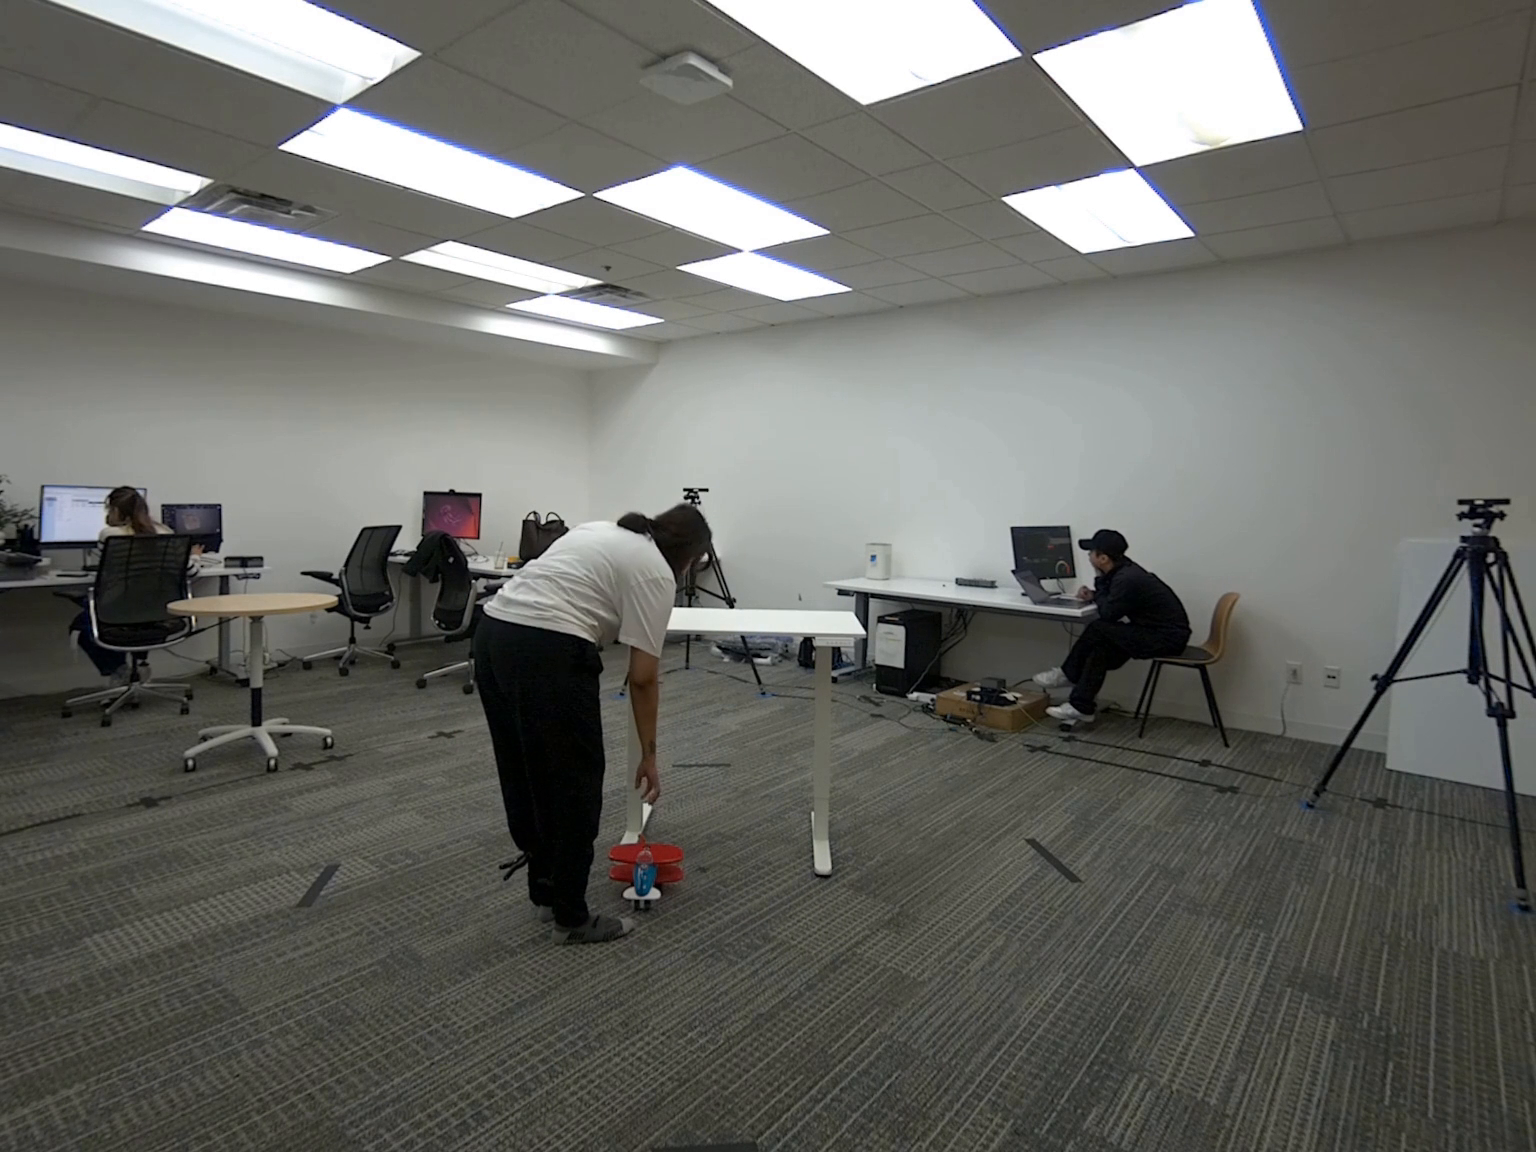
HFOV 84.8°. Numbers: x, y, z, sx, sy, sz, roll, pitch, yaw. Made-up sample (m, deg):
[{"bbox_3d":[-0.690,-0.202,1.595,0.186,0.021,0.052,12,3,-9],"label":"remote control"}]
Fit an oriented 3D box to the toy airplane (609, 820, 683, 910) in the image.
[{"bbox_3d":[-0.400,1.013,2.889,0.244,0.156,0.267,-3,5,-32],"label":"toy airplane"}]
